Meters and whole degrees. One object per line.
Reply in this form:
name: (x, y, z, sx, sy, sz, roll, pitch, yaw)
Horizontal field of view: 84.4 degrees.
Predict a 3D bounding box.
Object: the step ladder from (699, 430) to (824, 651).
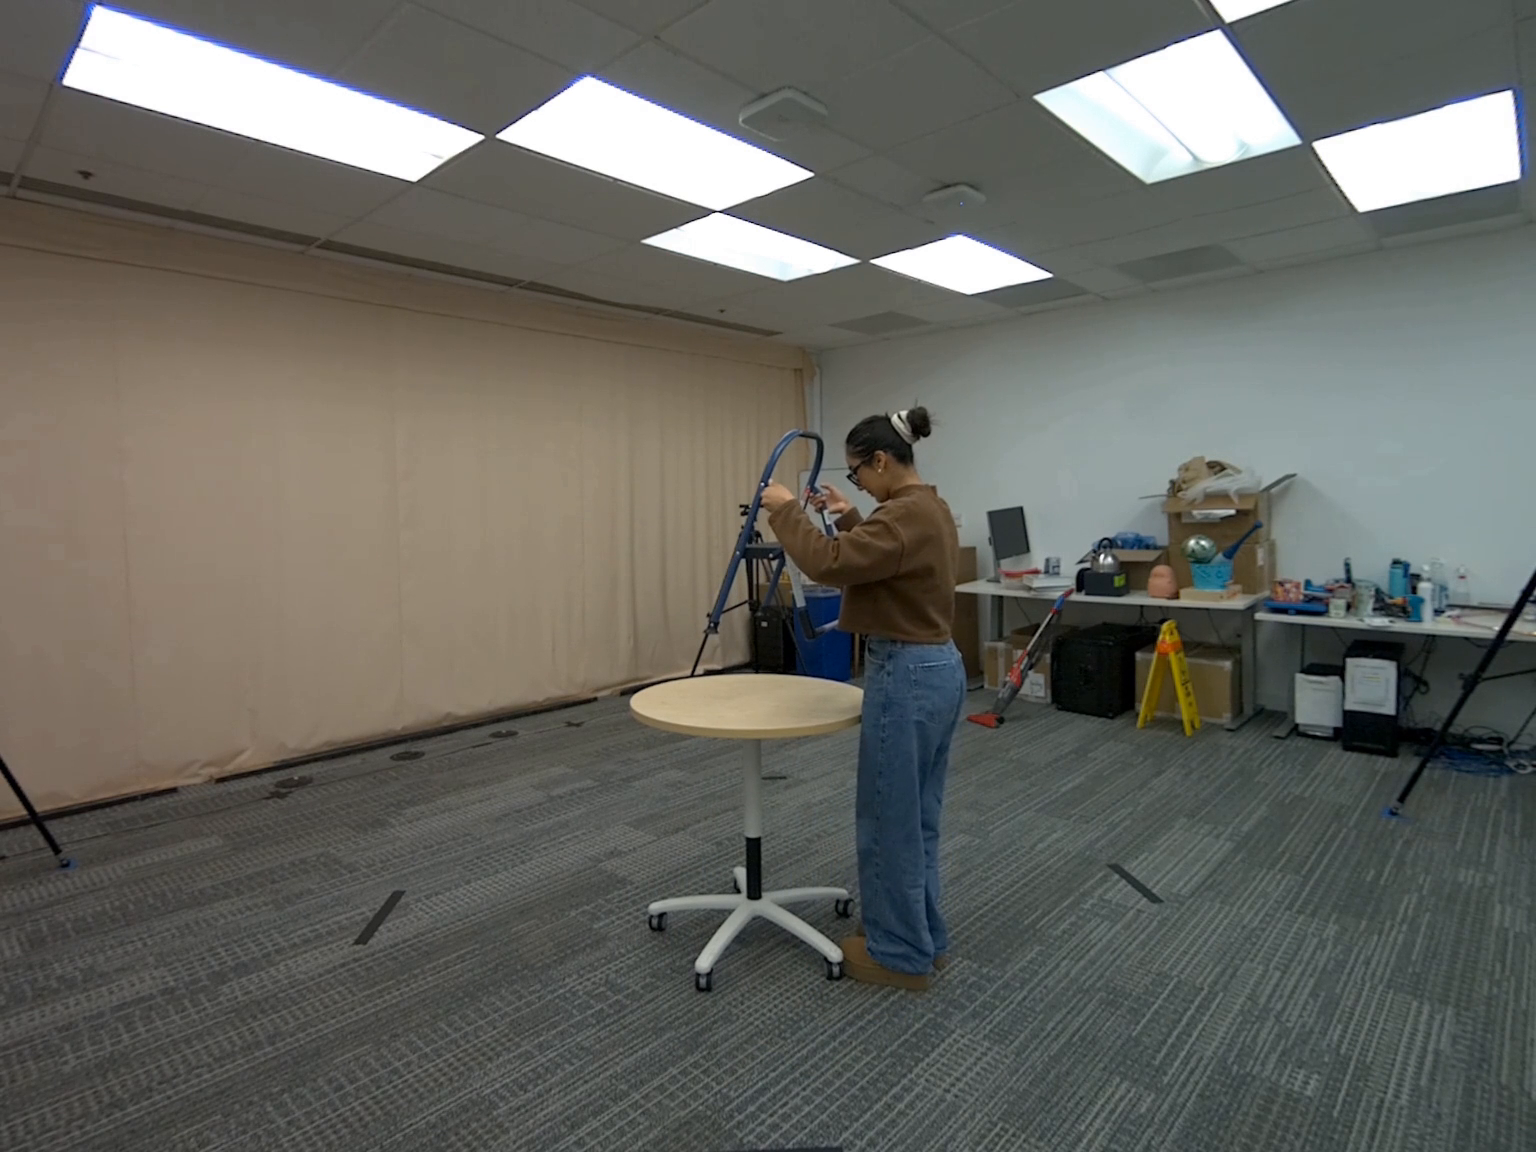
step ladder: (0.069, -0.145, 2.601, 0.358, 0.604, 0.421, 3, 4, 24)
